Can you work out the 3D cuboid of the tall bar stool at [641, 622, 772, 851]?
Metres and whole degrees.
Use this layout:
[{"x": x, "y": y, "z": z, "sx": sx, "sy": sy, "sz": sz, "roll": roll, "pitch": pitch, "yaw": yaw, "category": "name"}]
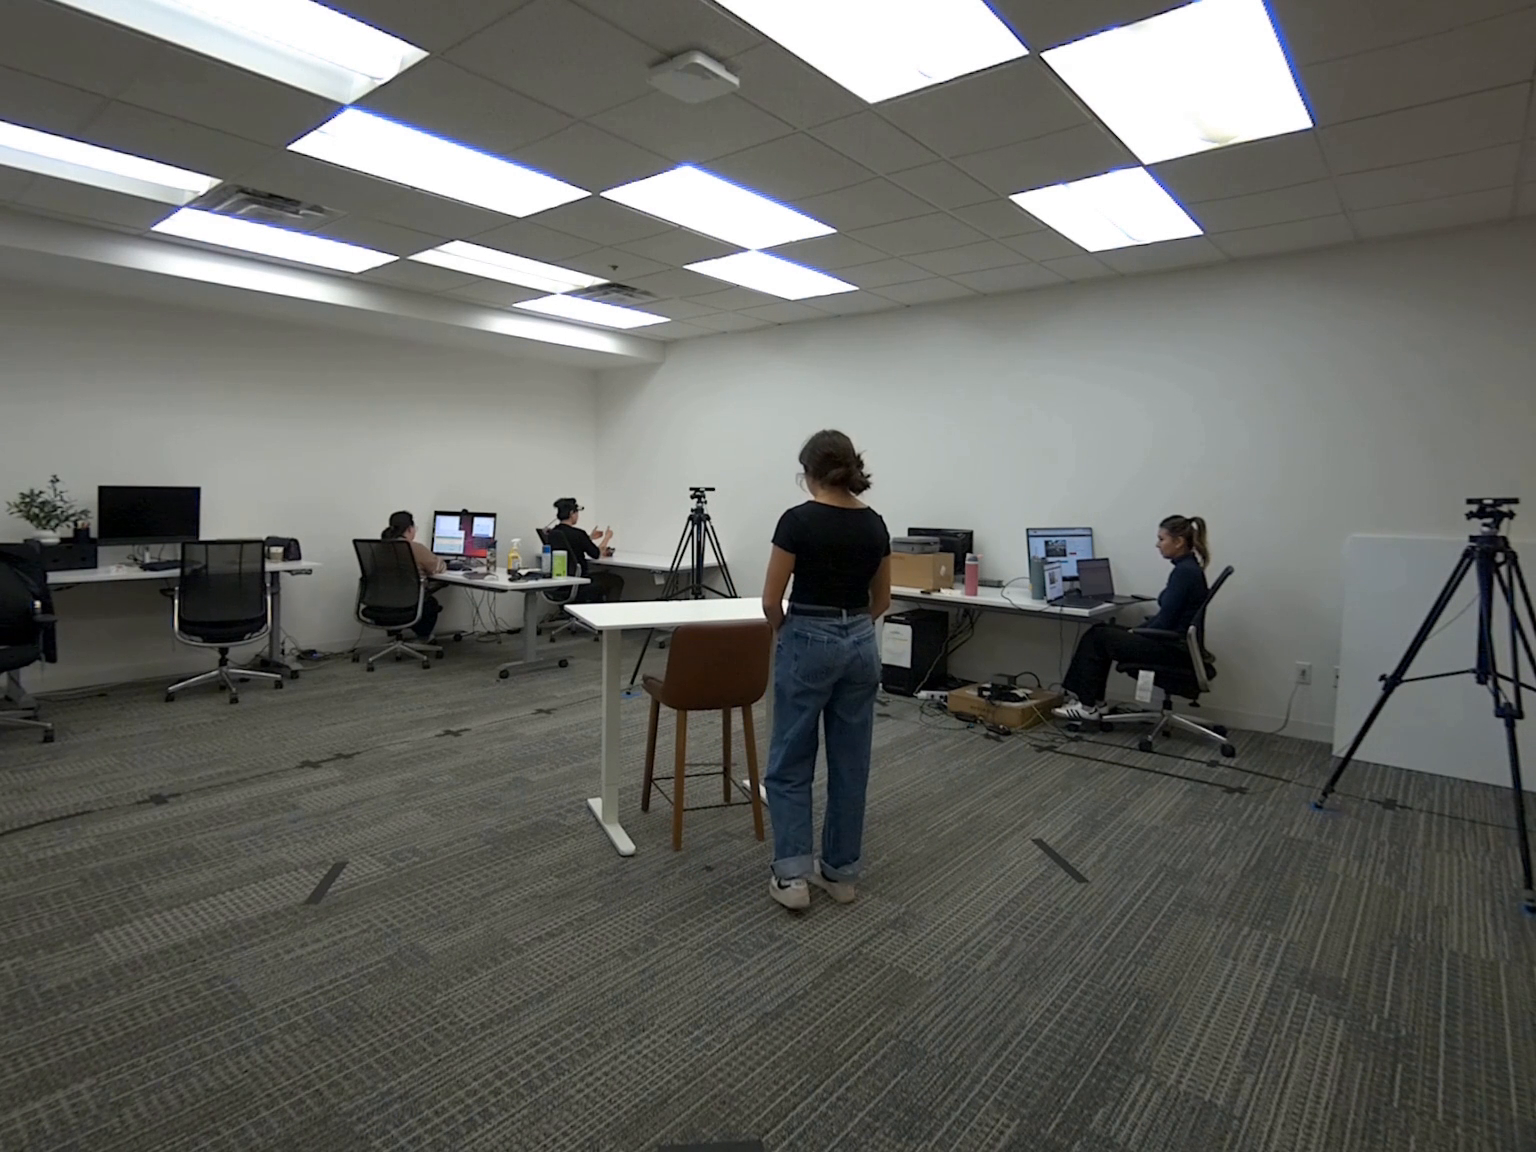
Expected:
[{"x": -0.273, "y": 0.599, "z": 3.495, "sx": 0.447, "sy": 0.886, "sz": 0.479, "roll": 1, "pitch": 5, "yaw": -22, "category": "tall bar stool"}]
